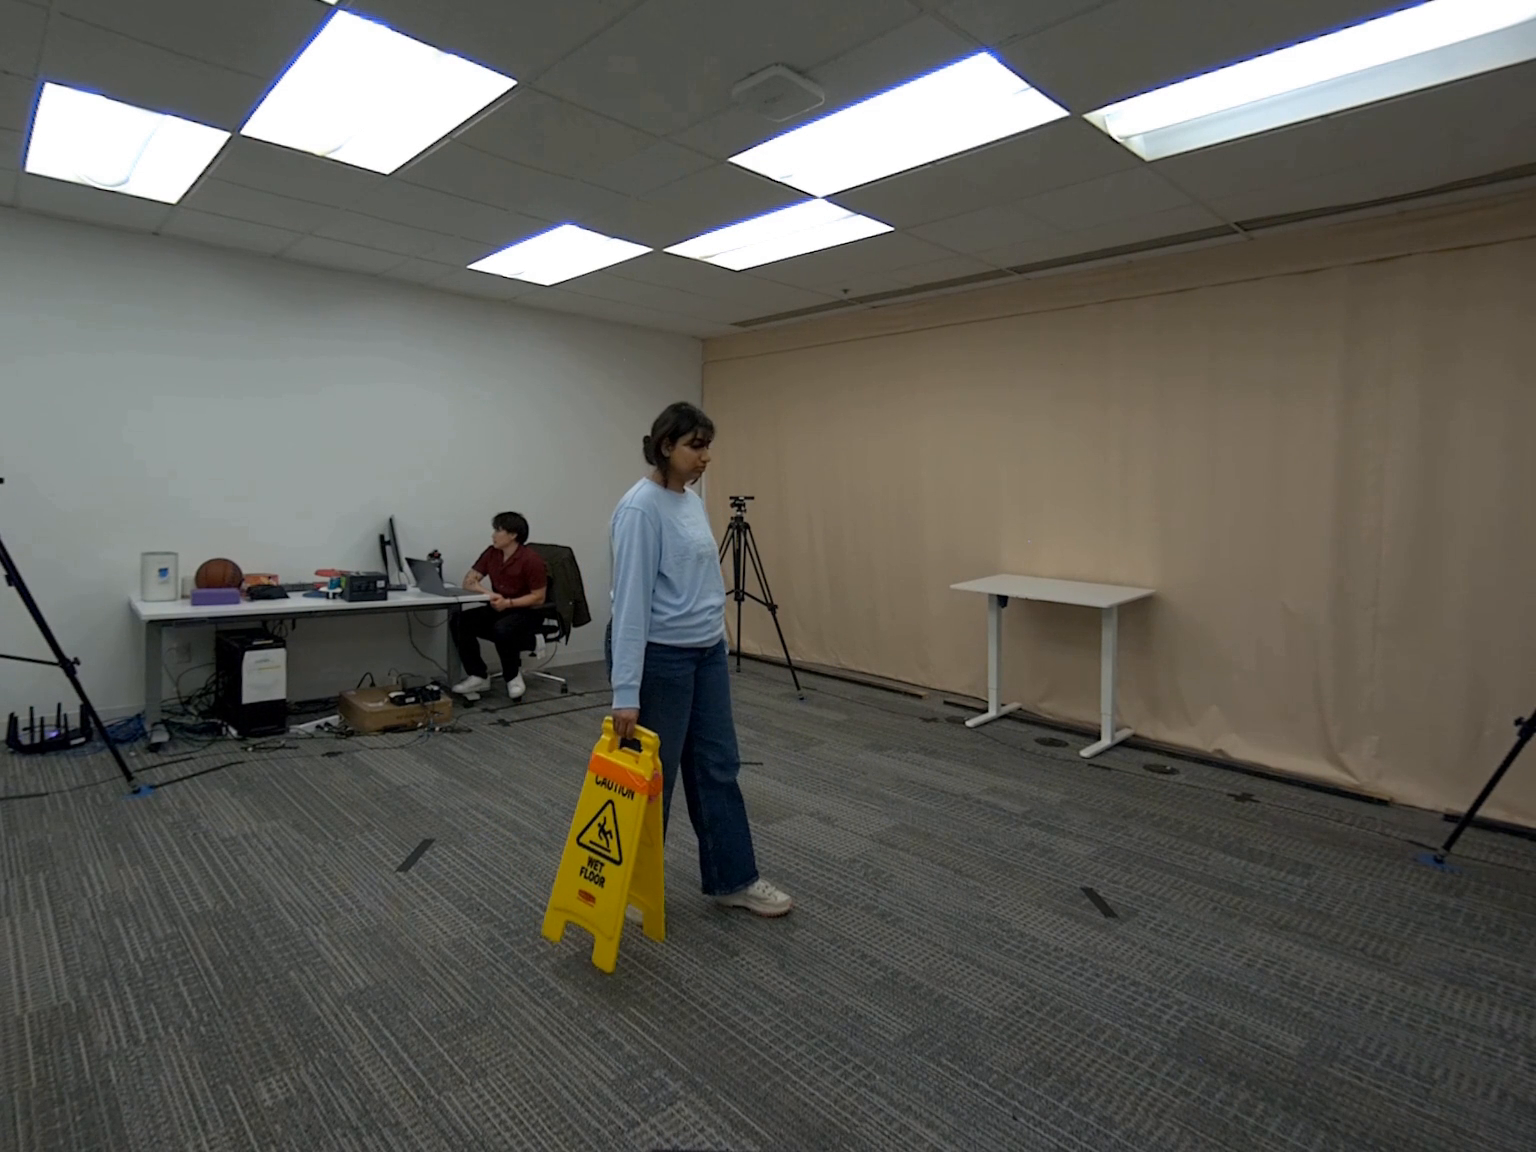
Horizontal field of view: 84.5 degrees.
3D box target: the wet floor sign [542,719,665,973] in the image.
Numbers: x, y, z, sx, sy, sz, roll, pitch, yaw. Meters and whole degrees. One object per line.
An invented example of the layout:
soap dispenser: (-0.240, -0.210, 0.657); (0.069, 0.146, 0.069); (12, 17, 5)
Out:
wet floor sign: (-0.449, 0.757, 2.462); (0.289, 0.644, 0.283); (10, 5, 34)
